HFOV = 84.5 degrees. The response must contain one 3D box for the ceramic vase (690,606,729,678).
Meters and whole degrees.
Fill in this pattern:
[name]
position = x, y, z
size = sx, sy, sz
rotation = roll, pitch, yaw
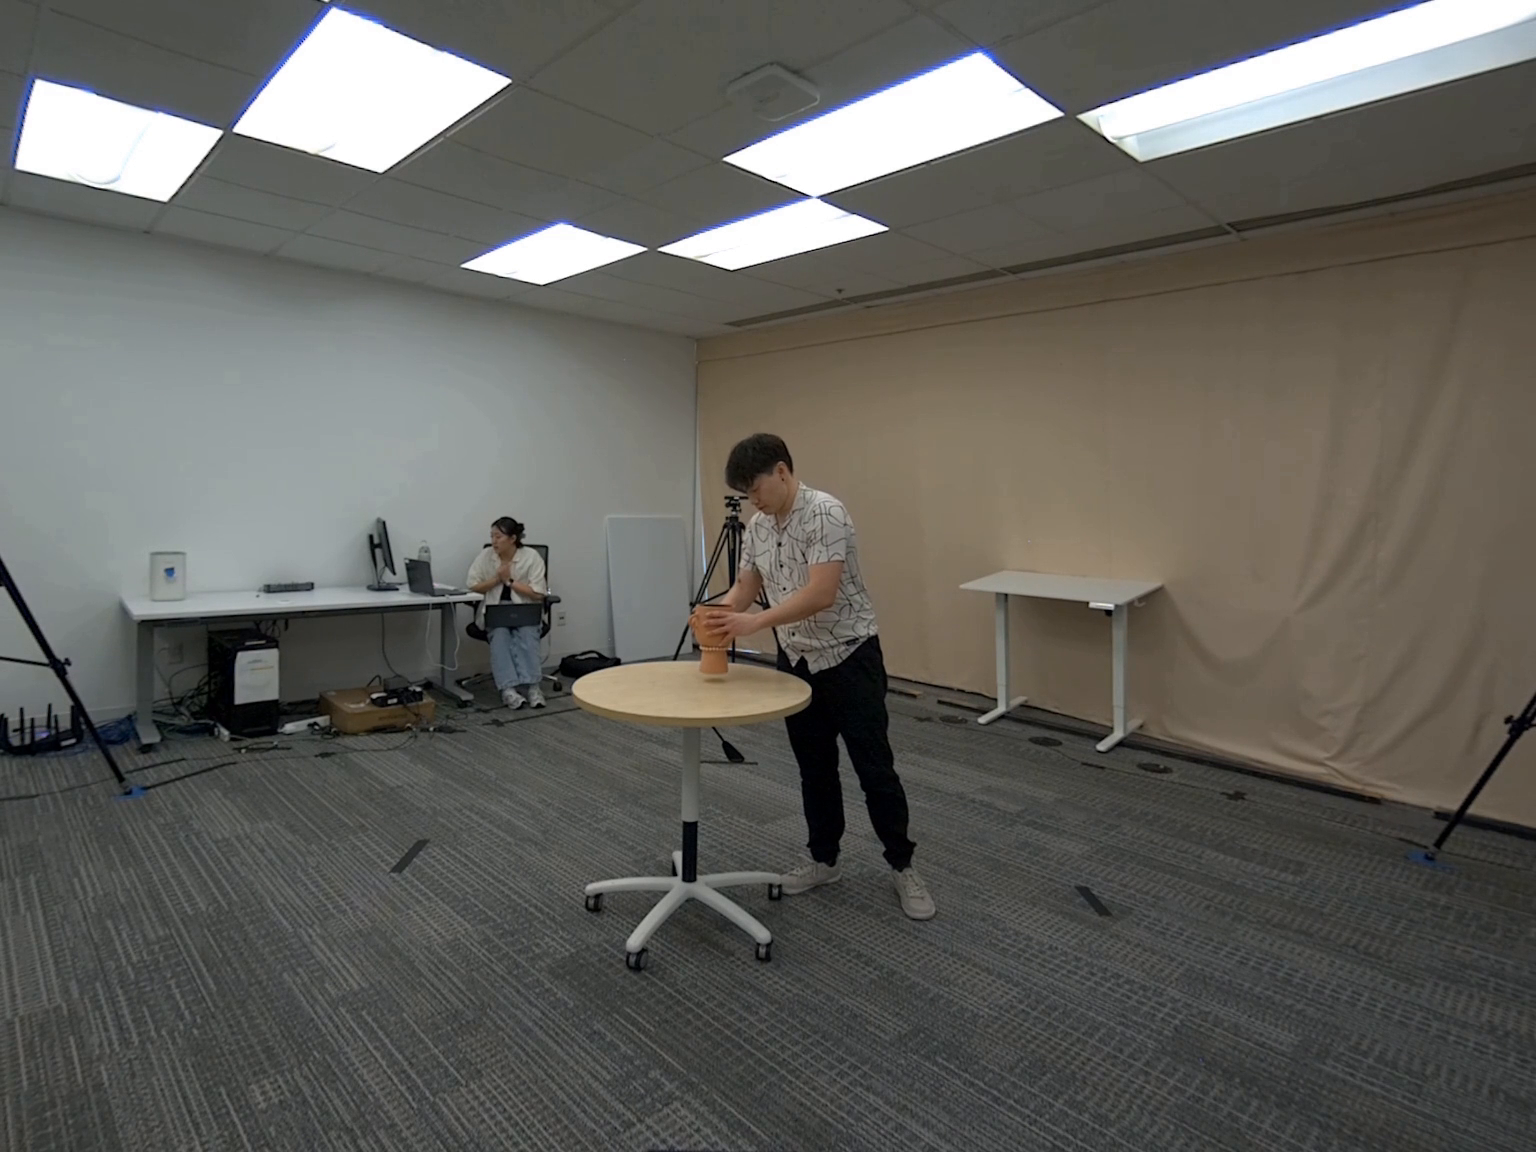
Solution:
[ceramic vase]
position = -0.189, 0.210, 2.772
size = 0.160, 0.220, 0.133
rotation = 2, 0, 8
